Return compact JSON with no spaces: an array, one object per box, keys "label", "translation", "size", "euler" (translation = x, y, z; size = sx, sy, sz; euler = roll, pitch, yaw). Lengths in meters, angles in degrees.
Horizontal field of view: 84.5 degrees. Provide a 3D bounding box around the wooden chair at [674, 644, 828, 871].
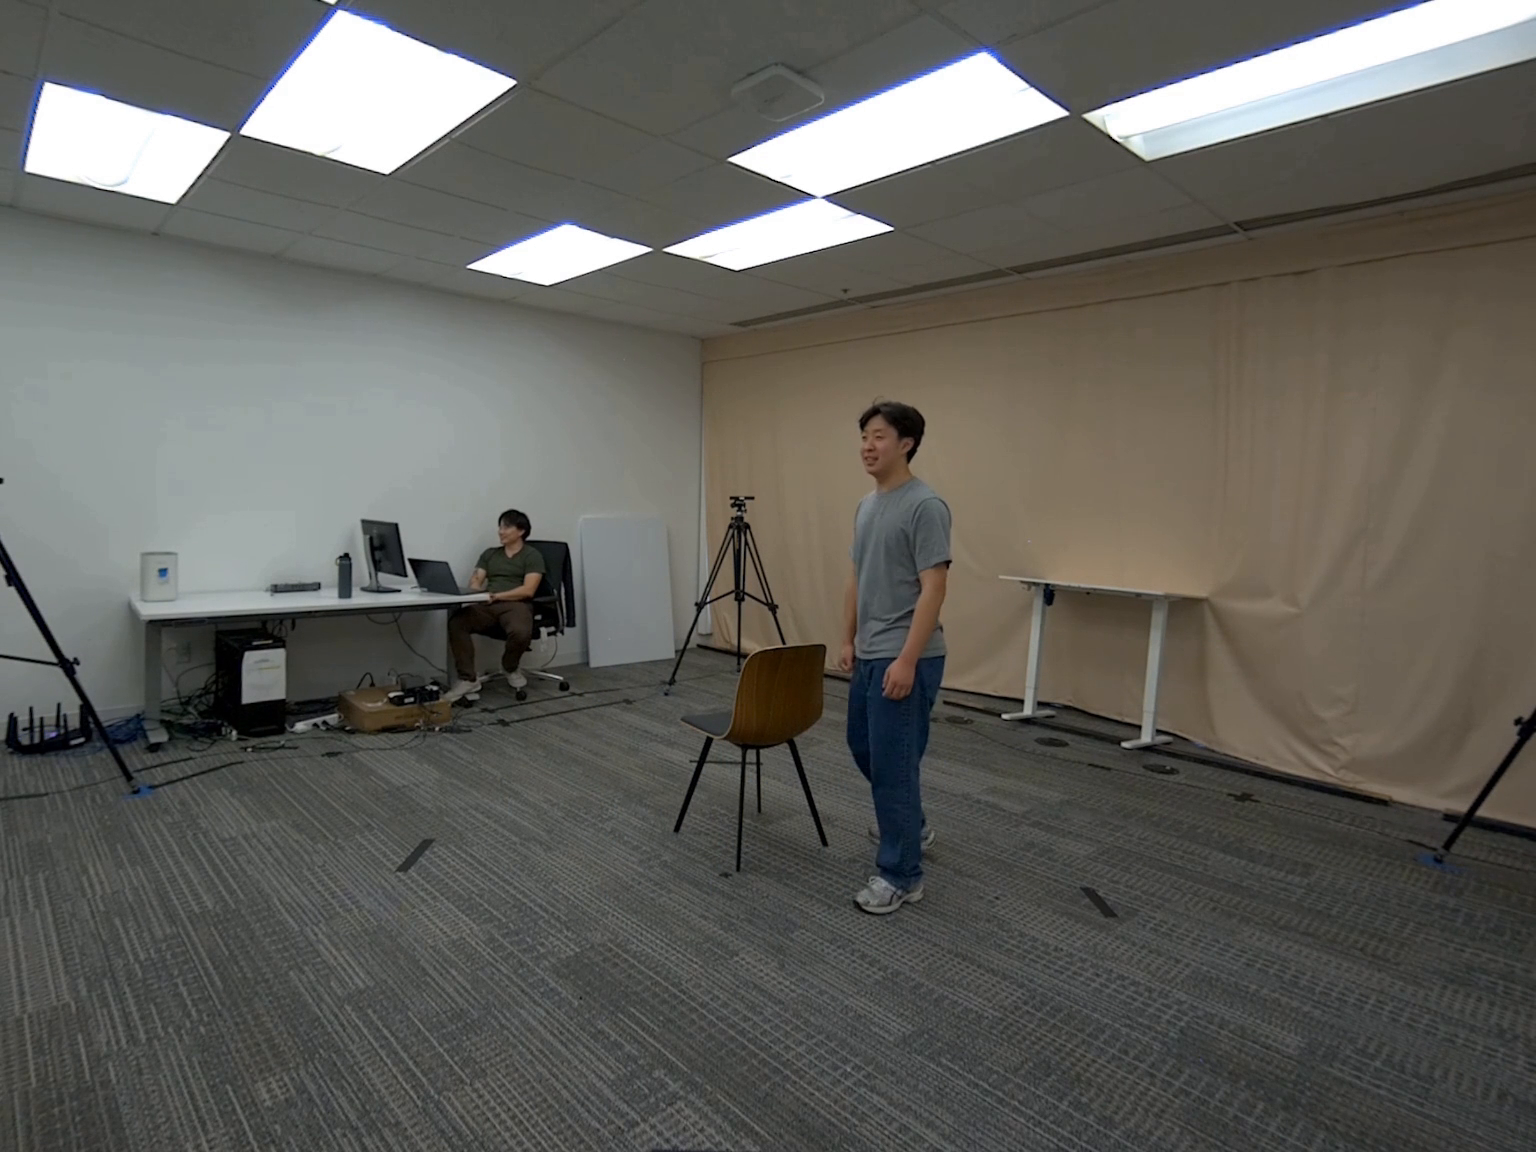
[{"label":"wooden chair","translation":[-0.075,0.651,3.417],"size":[0.467,0.873,0.537],"euler":[-1,9,-37]}]
